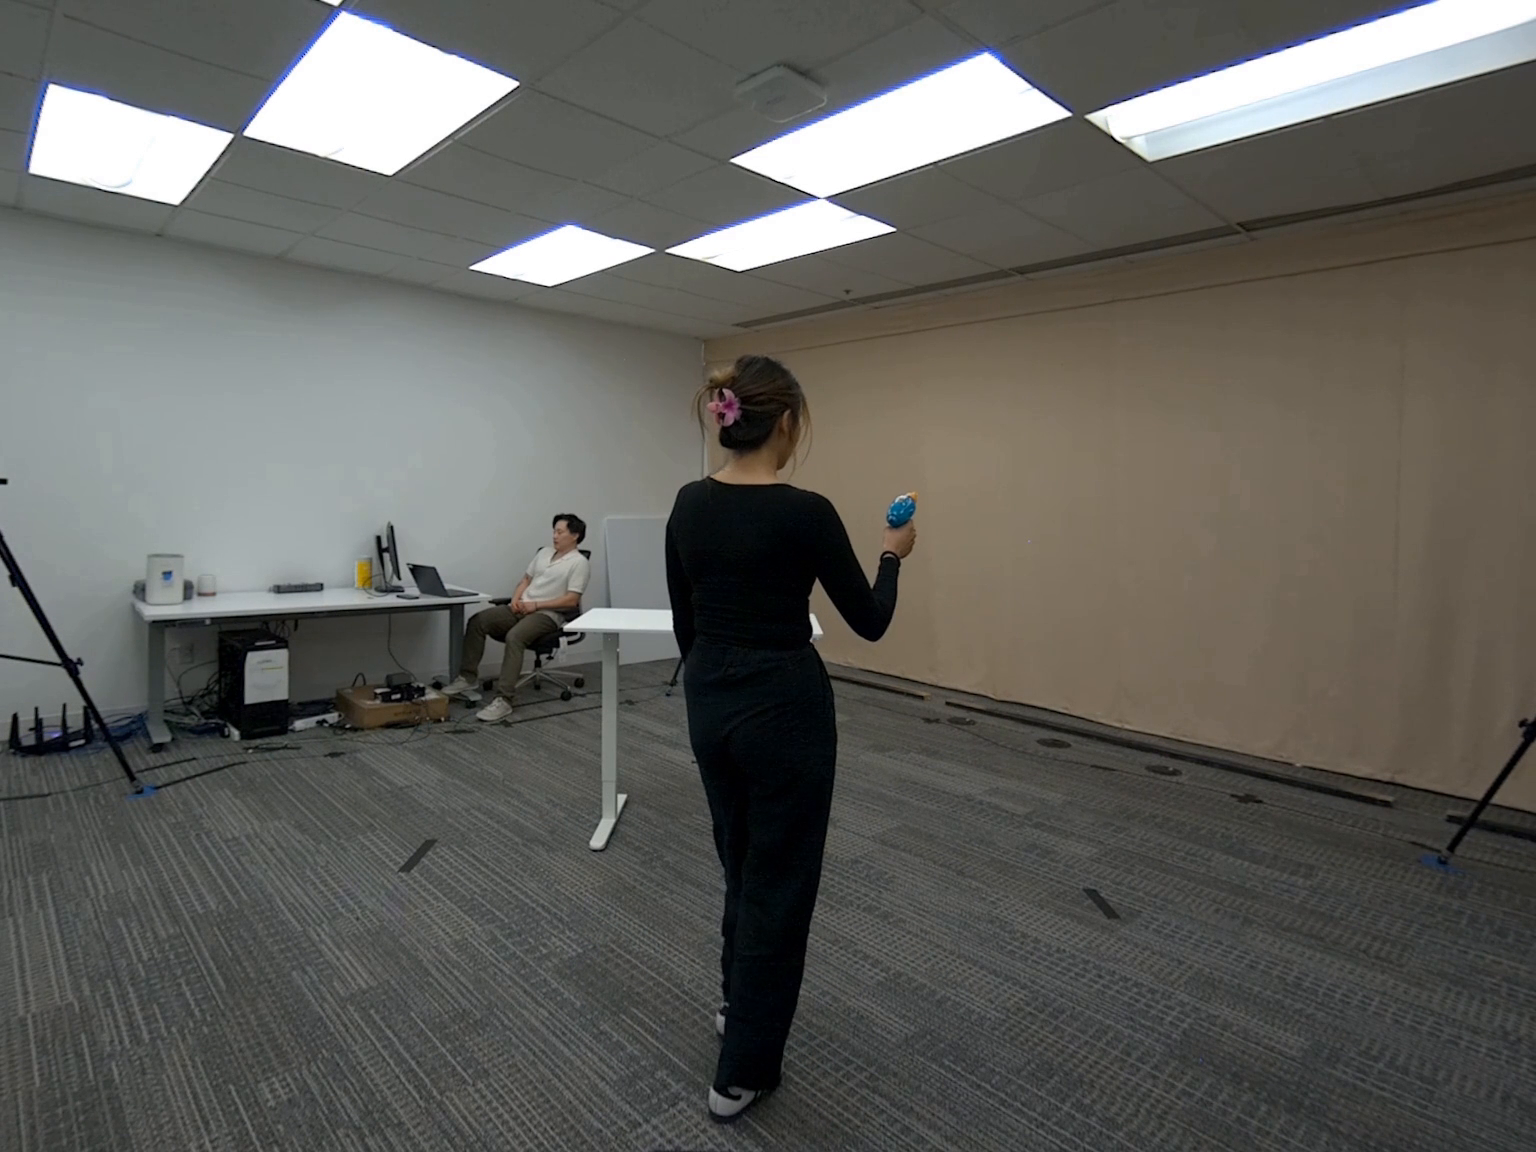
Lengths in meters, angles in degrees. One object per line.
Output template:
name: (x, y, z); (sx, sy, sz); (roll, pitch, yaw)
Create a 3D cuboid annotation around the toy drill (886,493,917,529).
toy drill: (0.343, -0.140, 2.143); (0.062, 0.143, 0.170); (7, 34, 23)
